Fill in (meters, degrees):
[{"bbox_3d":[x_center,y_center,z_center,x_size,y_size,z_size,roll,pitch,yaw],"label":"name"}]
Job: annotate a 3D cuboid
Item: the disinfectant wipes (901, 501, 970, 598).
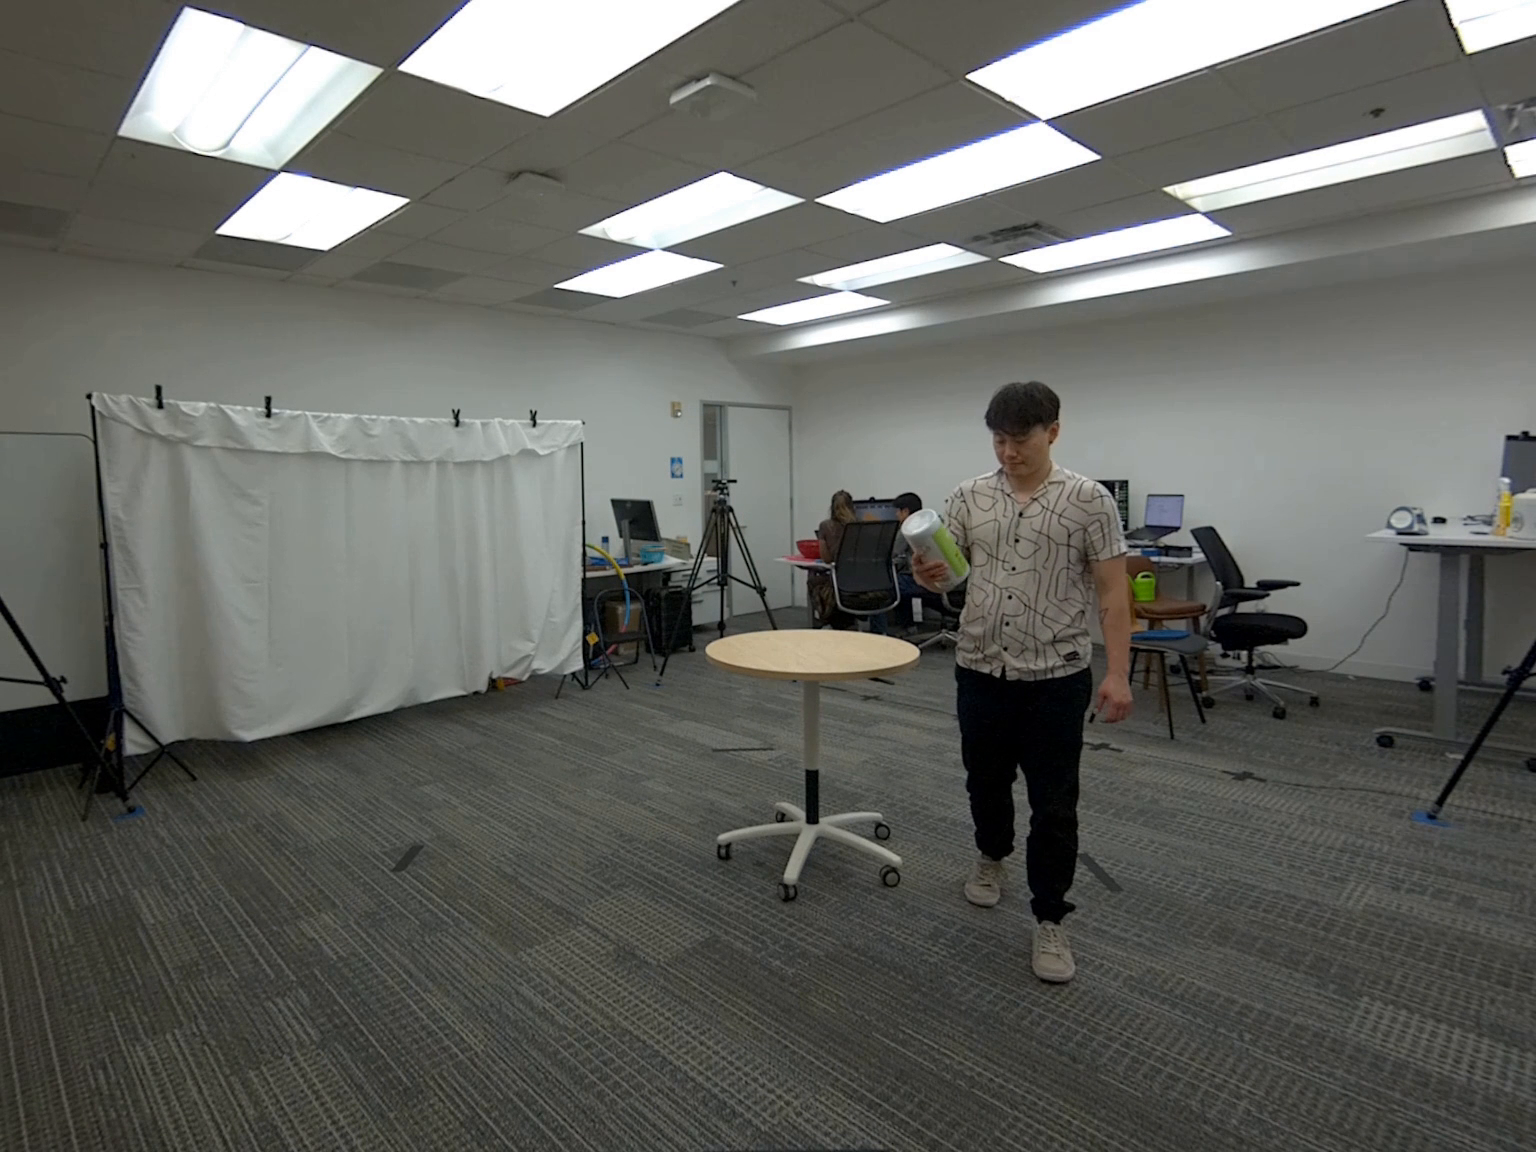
[{"bbox_3d":[0.491,-0.076,2.408,0.118,0.212,0.120,-32,21,13],"label":"disinfectant wipes"}]
